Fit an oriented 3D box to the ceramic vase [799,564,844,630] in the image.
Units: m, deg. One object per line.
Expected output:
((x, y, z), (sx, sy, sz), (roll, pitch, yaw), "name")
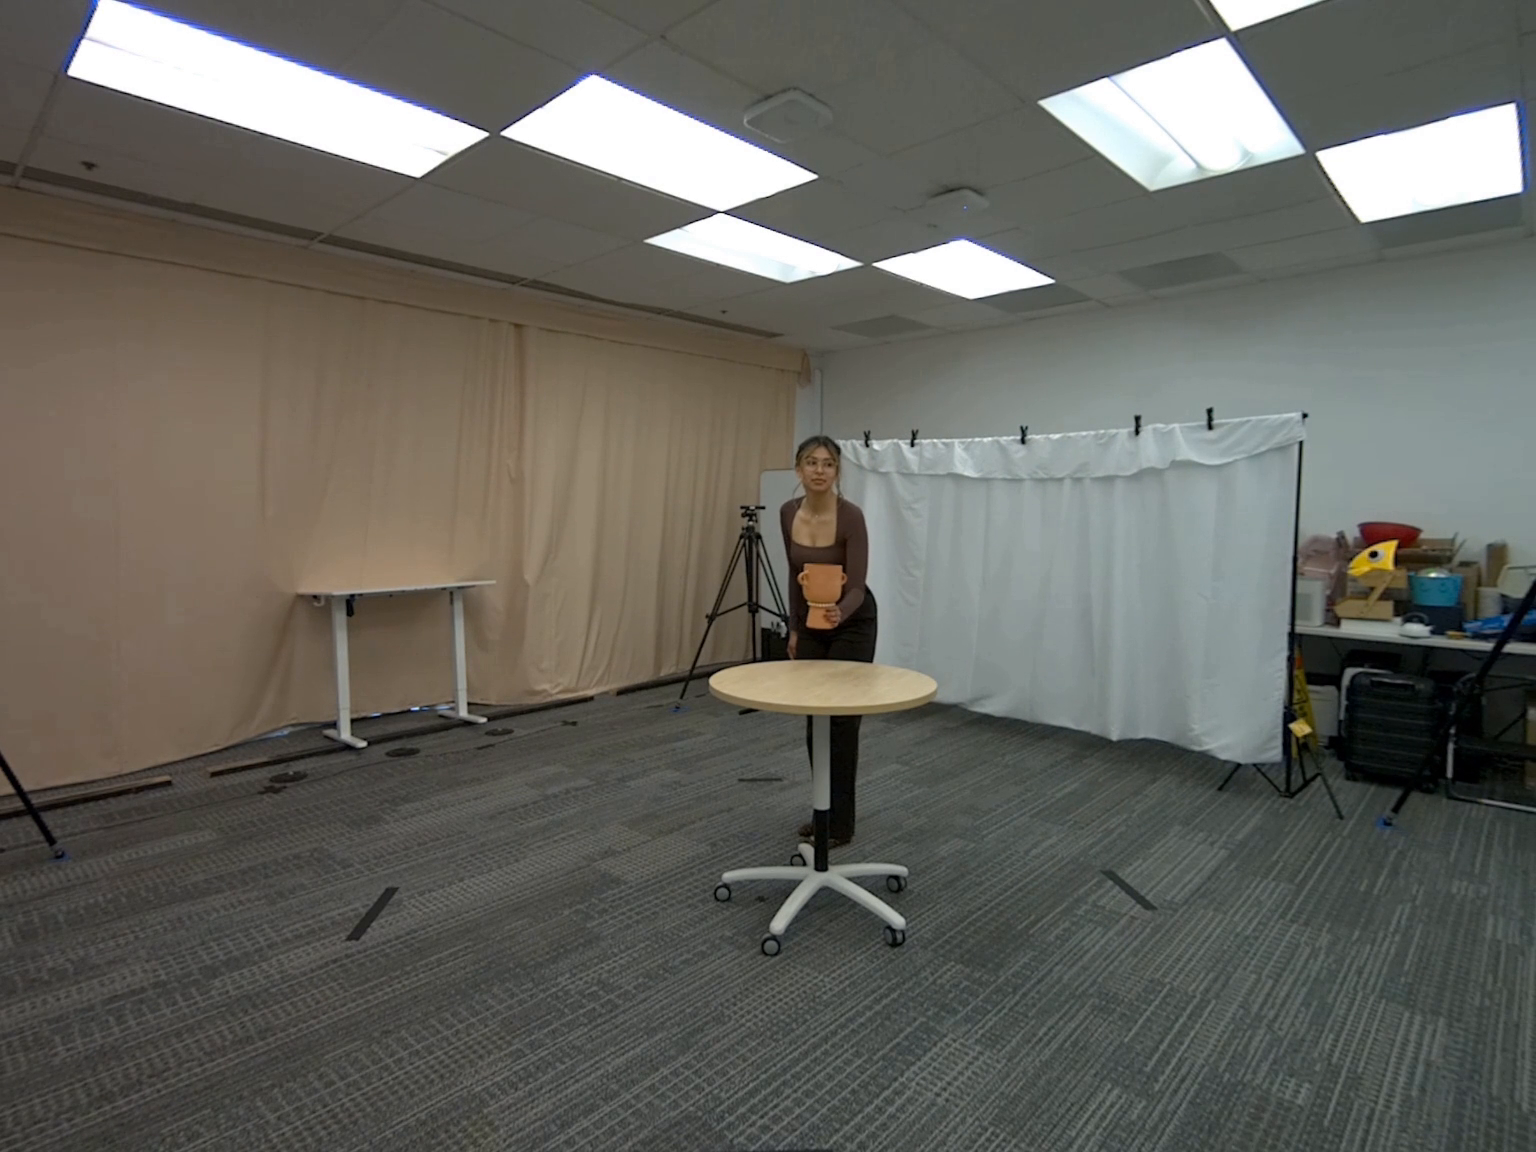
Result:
((0.194, 0.072, 2.987), (0.161, 0.219, 0.133), (3, 3, 13), "ceramic vase")
